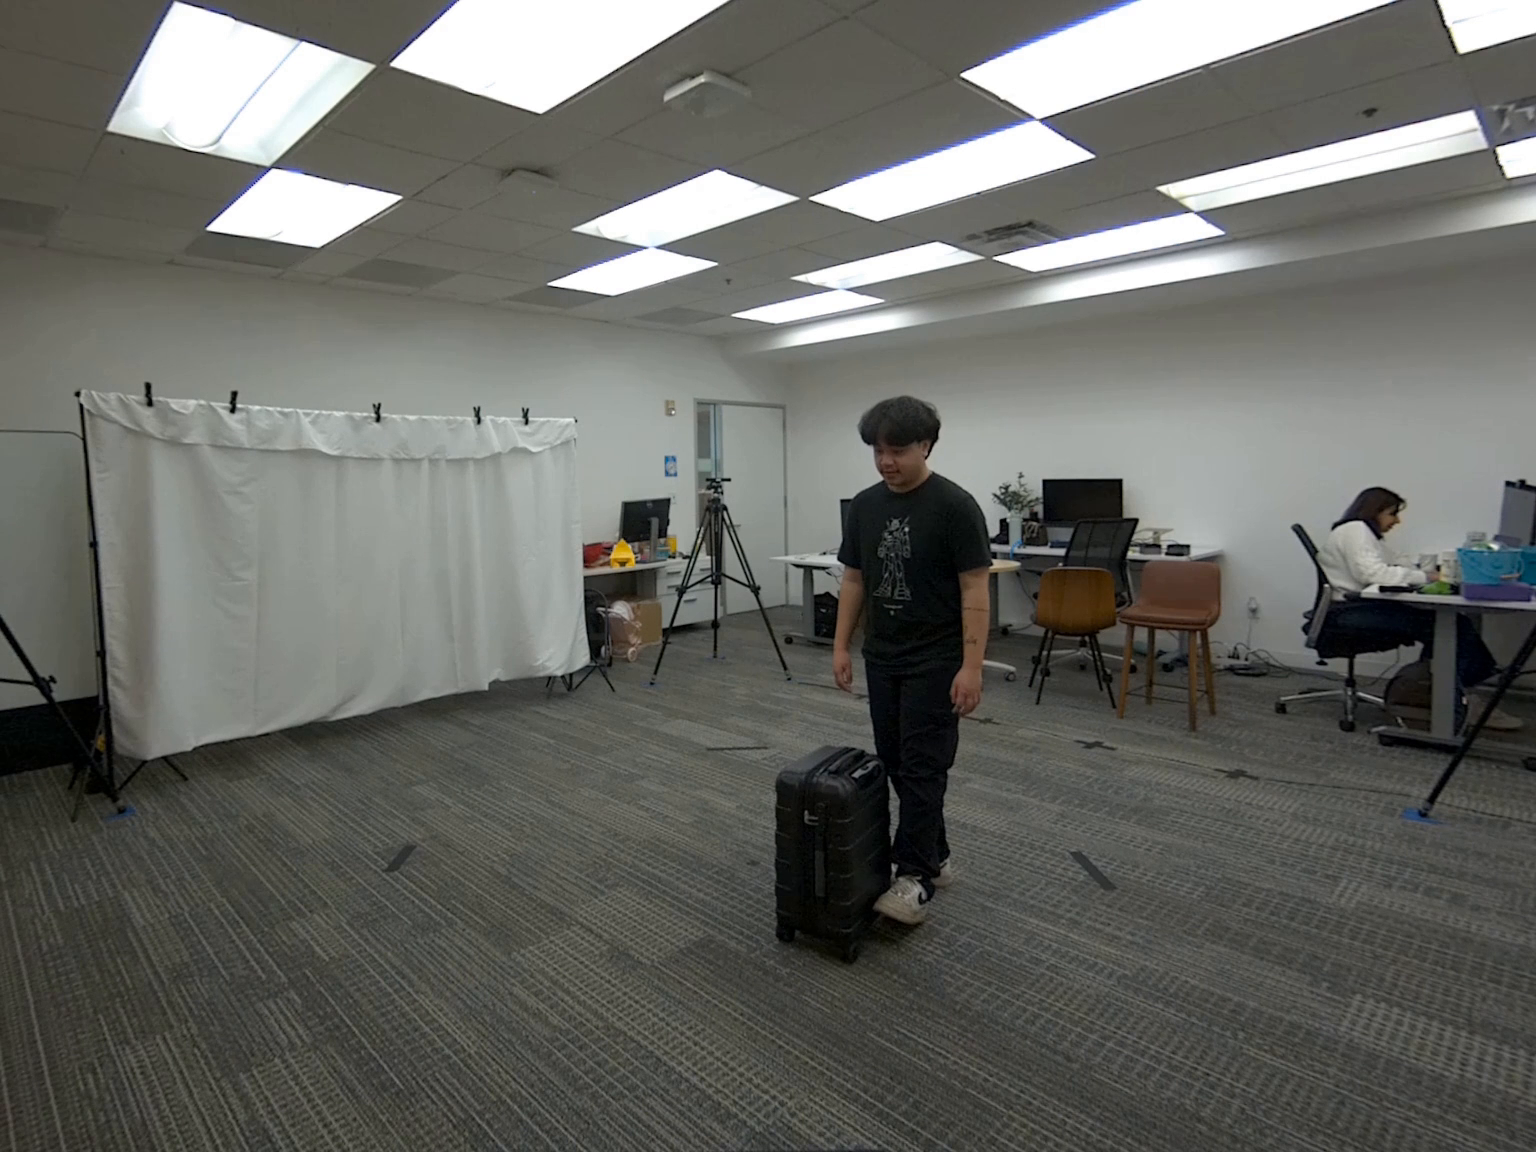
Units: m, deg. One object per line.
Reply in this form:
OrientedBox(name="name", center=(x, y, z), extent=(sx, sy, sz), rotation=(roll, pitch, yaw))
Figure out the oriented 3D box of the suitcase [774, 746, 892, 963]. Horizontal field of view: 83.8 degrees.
OrientedBox(name="suitcase", center=(0.205, 0.822, 2.610), extent=(0.255, 0.547, 0.367), rotation=(1, 6, 32))
